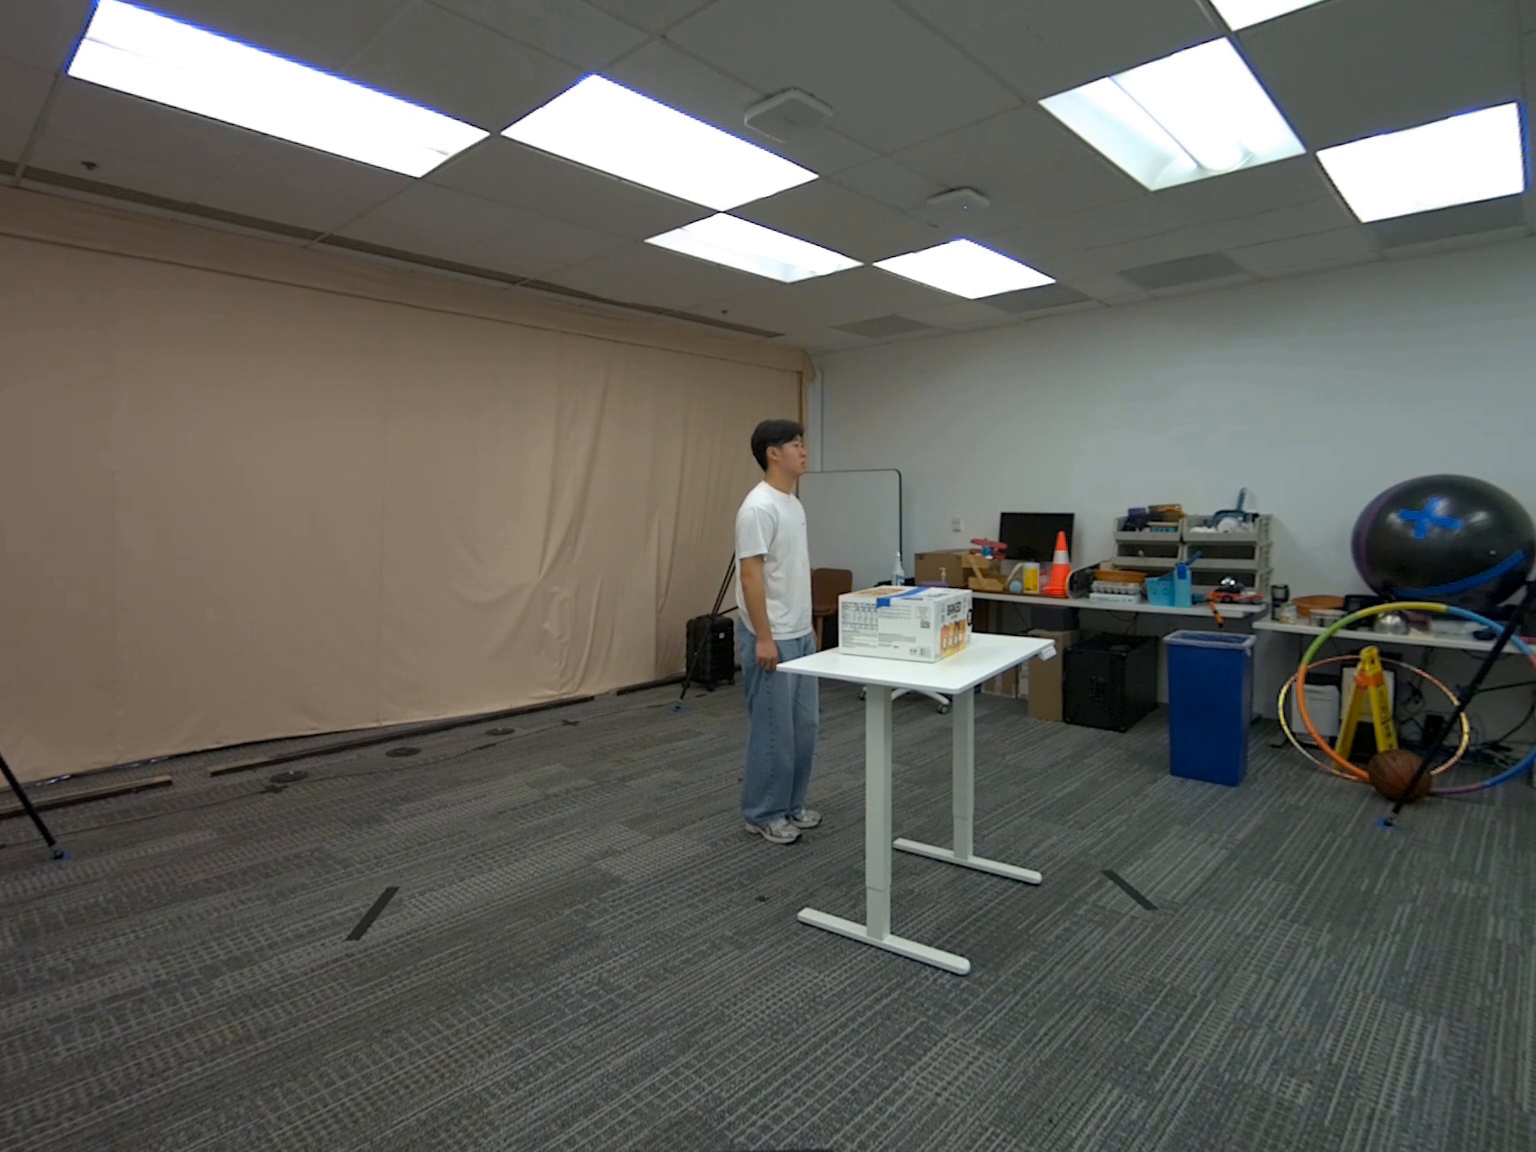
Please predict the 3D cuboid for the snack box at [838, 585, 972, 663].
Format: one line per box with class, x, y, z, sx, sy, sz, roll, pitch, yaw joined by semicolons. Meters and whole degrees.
snack box;0.495;0.161;2.965;0.350;0.205;0.394;2;5;31
